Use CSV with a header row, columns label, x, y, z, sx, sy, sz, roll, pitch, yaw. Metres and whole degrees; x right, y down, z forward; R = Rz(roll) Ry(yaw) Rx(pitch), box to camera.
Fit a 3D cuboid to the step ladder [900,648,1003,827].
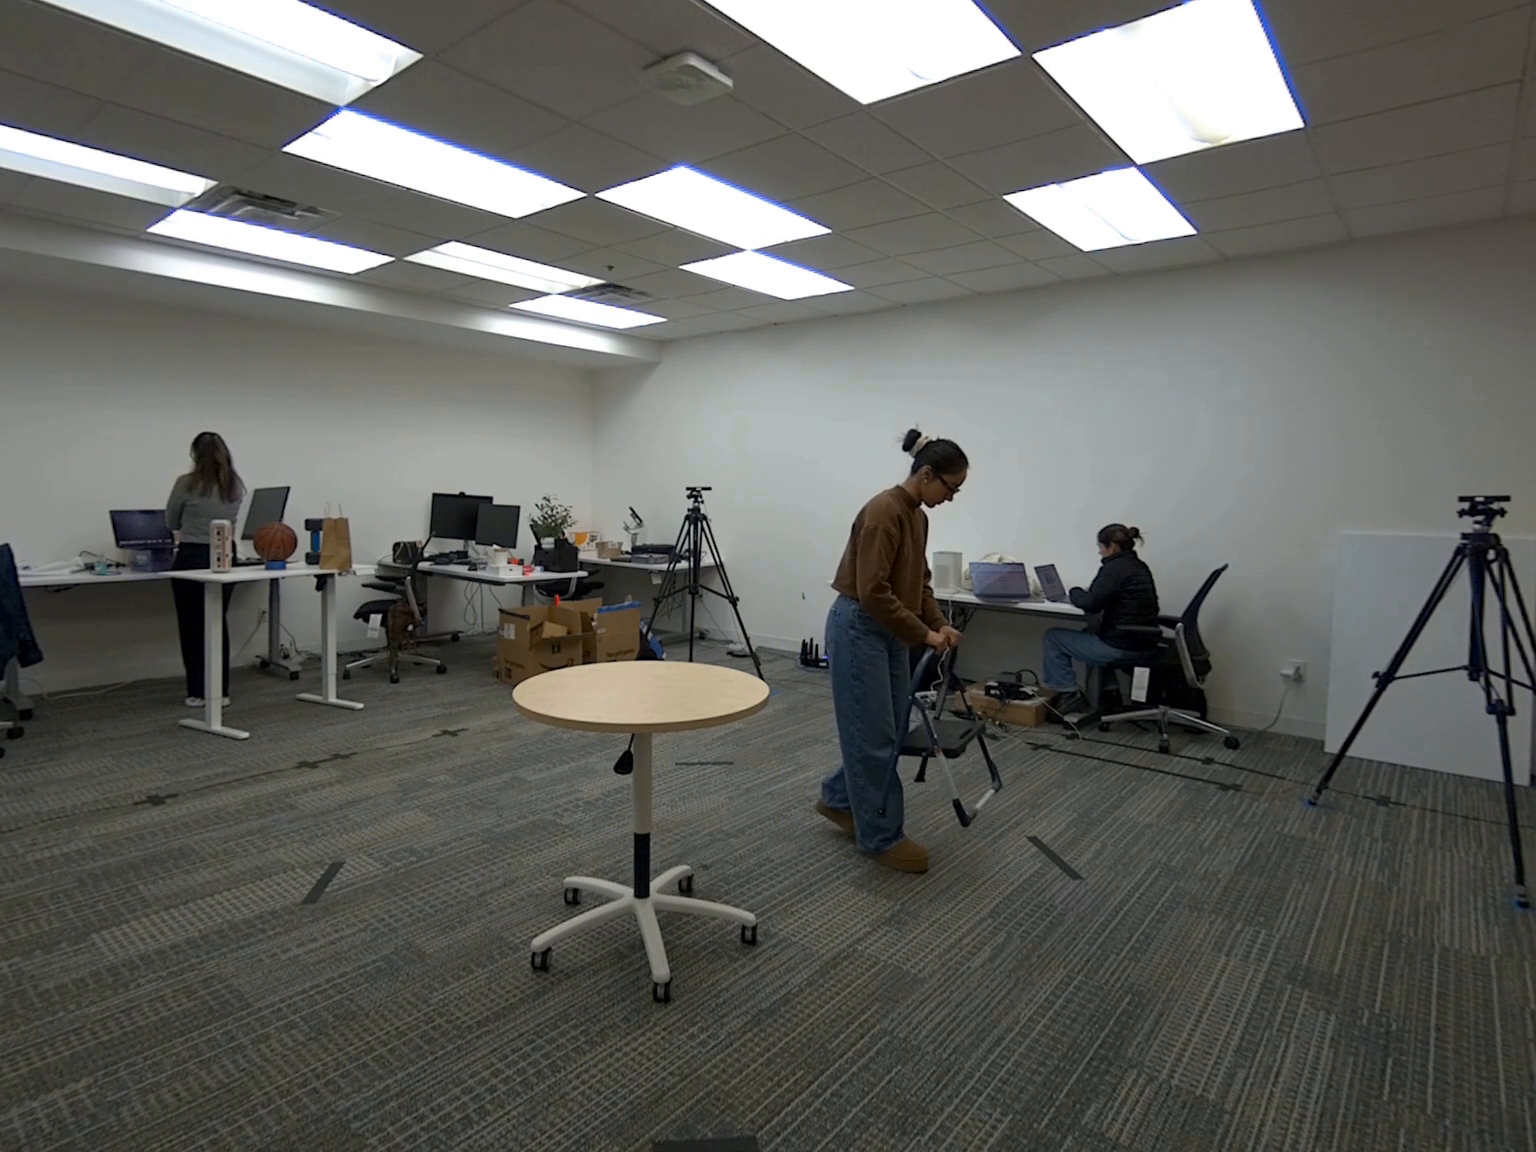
label,x,y,z,sx,sy,sz,roll,pitch,yaw
step ladder,0.600,0.544,3.134,0.358,0.605,0.421,-6,3,31
